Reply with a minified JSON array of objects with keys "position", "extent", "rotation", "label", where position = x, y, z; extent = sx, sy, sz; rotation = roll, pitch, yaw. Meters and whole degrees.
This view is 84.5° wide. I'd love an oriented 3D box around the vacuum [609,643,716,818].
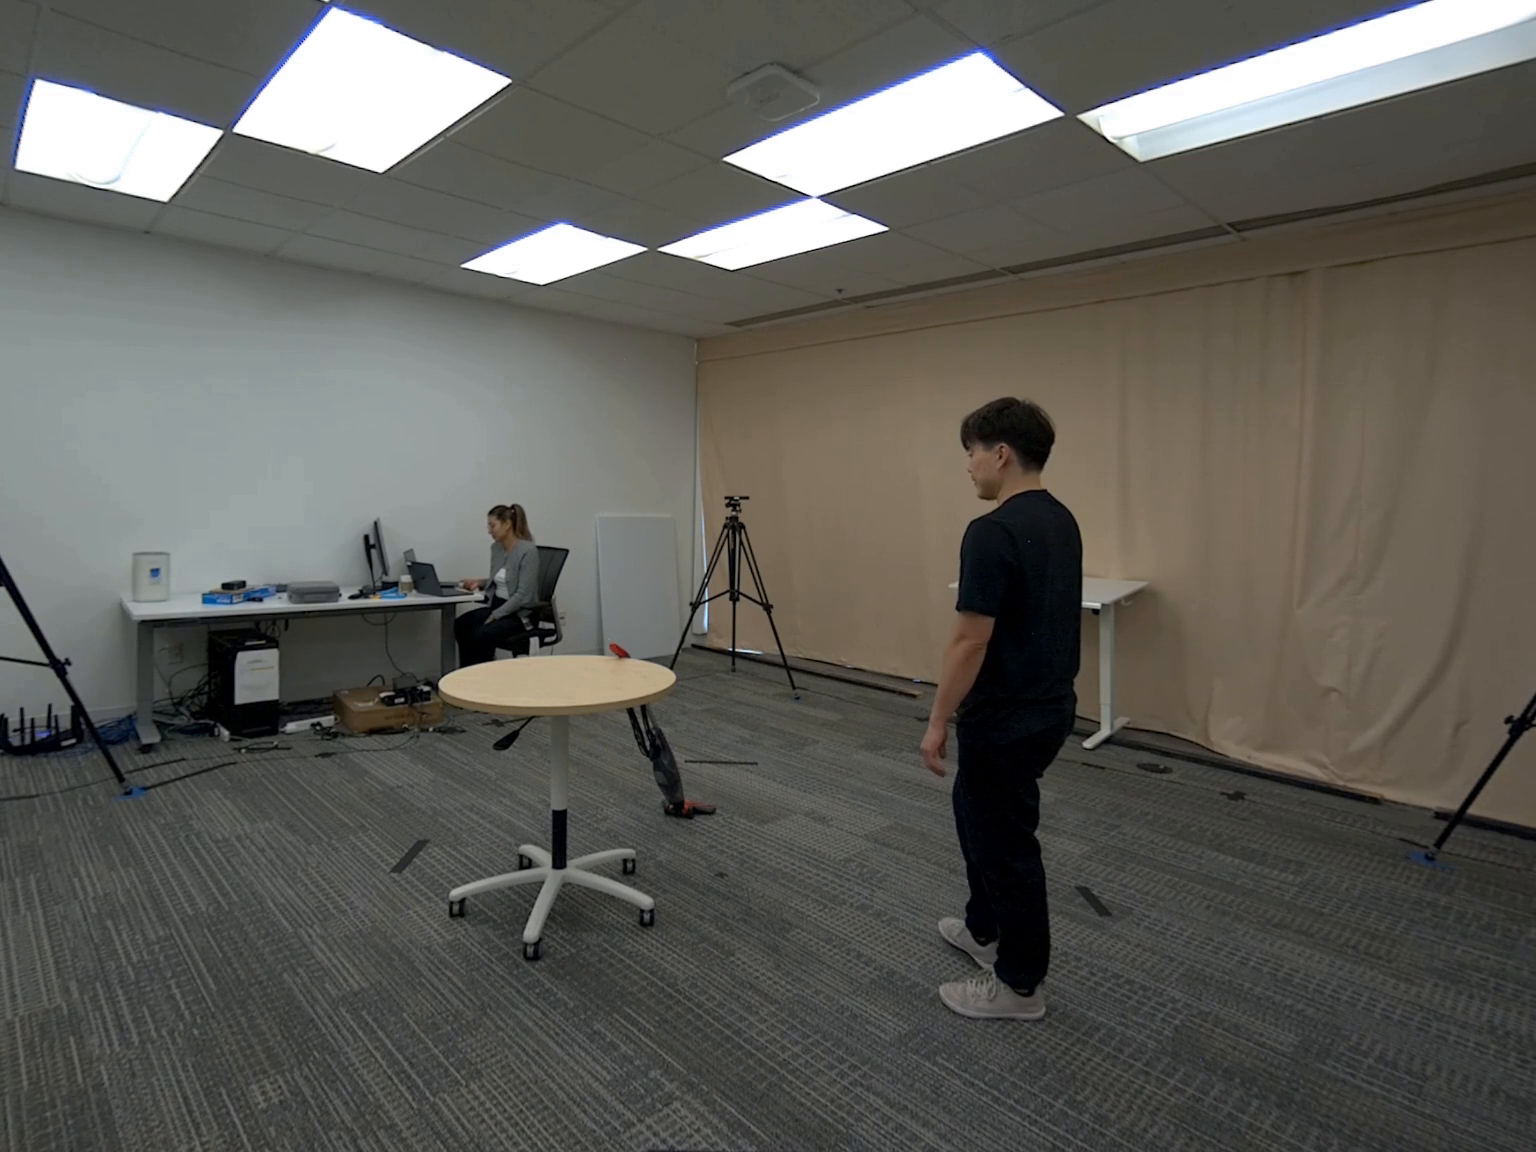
[{"position":[-0.473,0.648,3.409],"extent":[0.257,1.021,0.145],"rotation":[5,42,23],"label":"vacuum"}]
